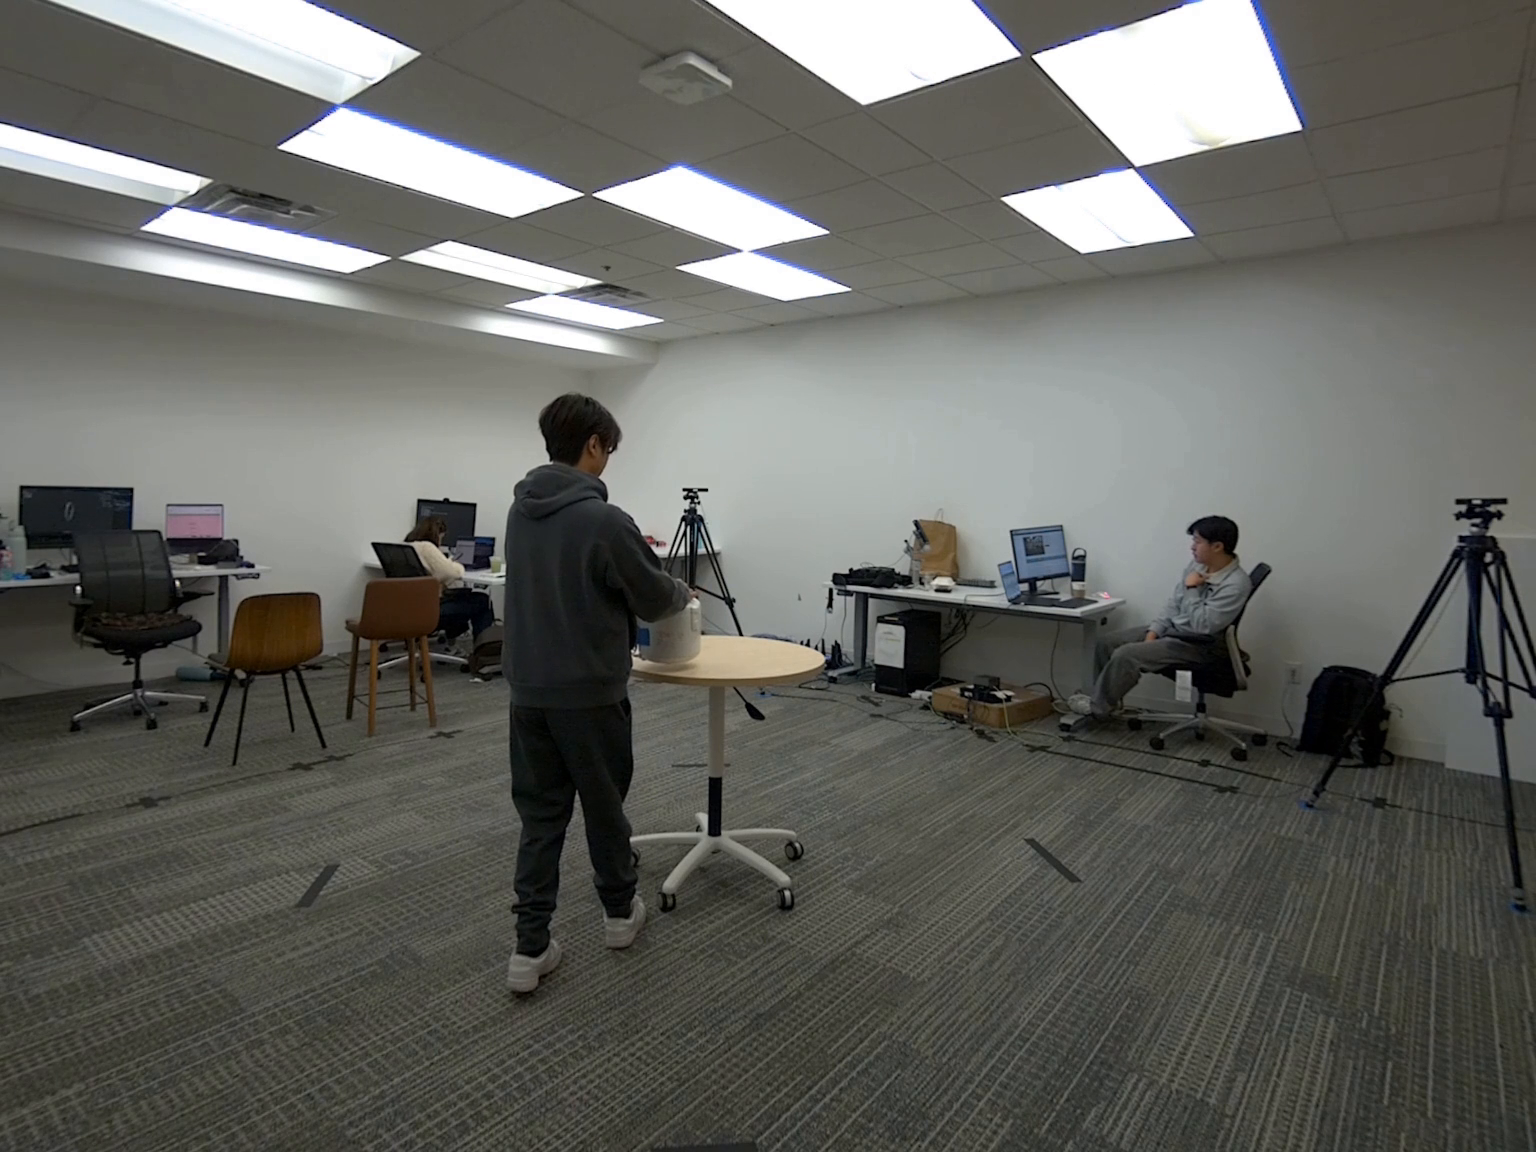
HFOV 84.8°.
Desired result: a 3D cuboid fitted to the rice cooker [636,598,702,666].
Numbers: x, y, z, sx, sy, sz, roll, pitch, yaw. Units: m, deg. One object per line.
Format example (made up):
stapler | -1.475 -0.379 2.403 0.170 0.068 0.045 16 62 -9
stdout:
rice cooker | -0.338 0.158 2.831 0.227 0.231 0.212 5 10 32
